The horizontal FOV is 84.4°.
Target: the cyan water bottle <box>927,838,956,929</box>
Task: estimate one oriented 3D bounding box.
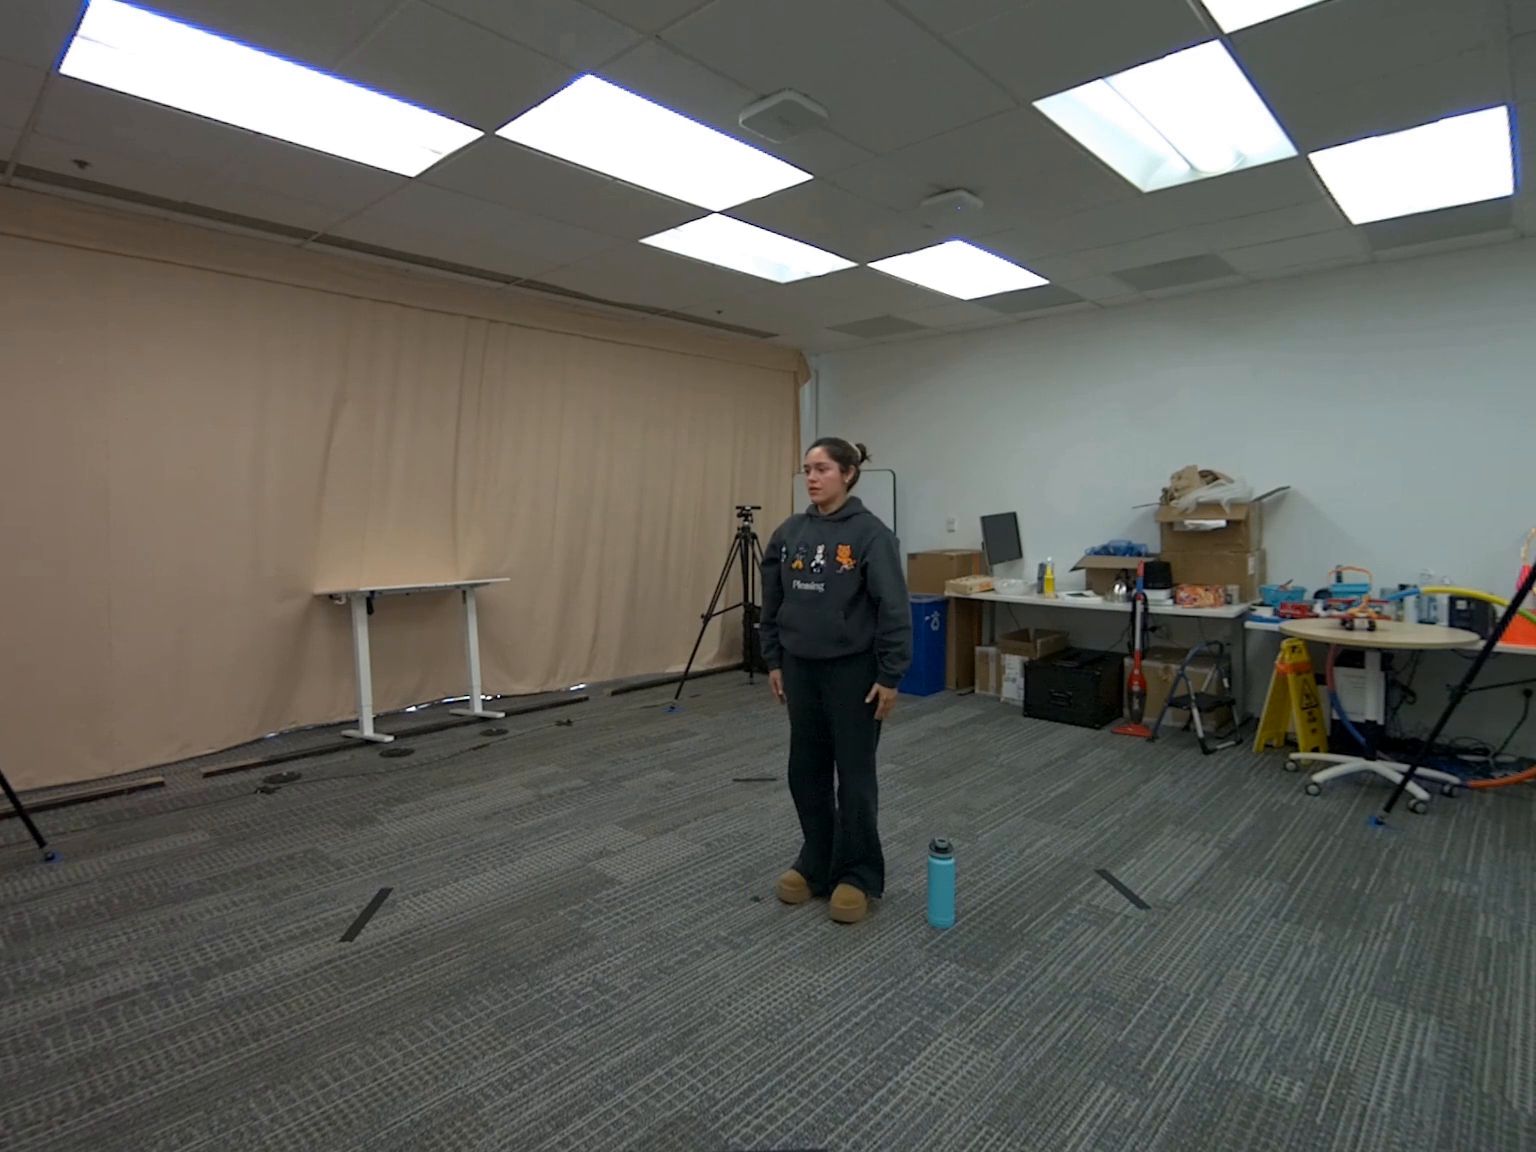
[{"bbox_3d":[0.597,1.006,2.797,0.092,0.283,0.092,-2,2,-2],"label":"cyan water bottle"}]
